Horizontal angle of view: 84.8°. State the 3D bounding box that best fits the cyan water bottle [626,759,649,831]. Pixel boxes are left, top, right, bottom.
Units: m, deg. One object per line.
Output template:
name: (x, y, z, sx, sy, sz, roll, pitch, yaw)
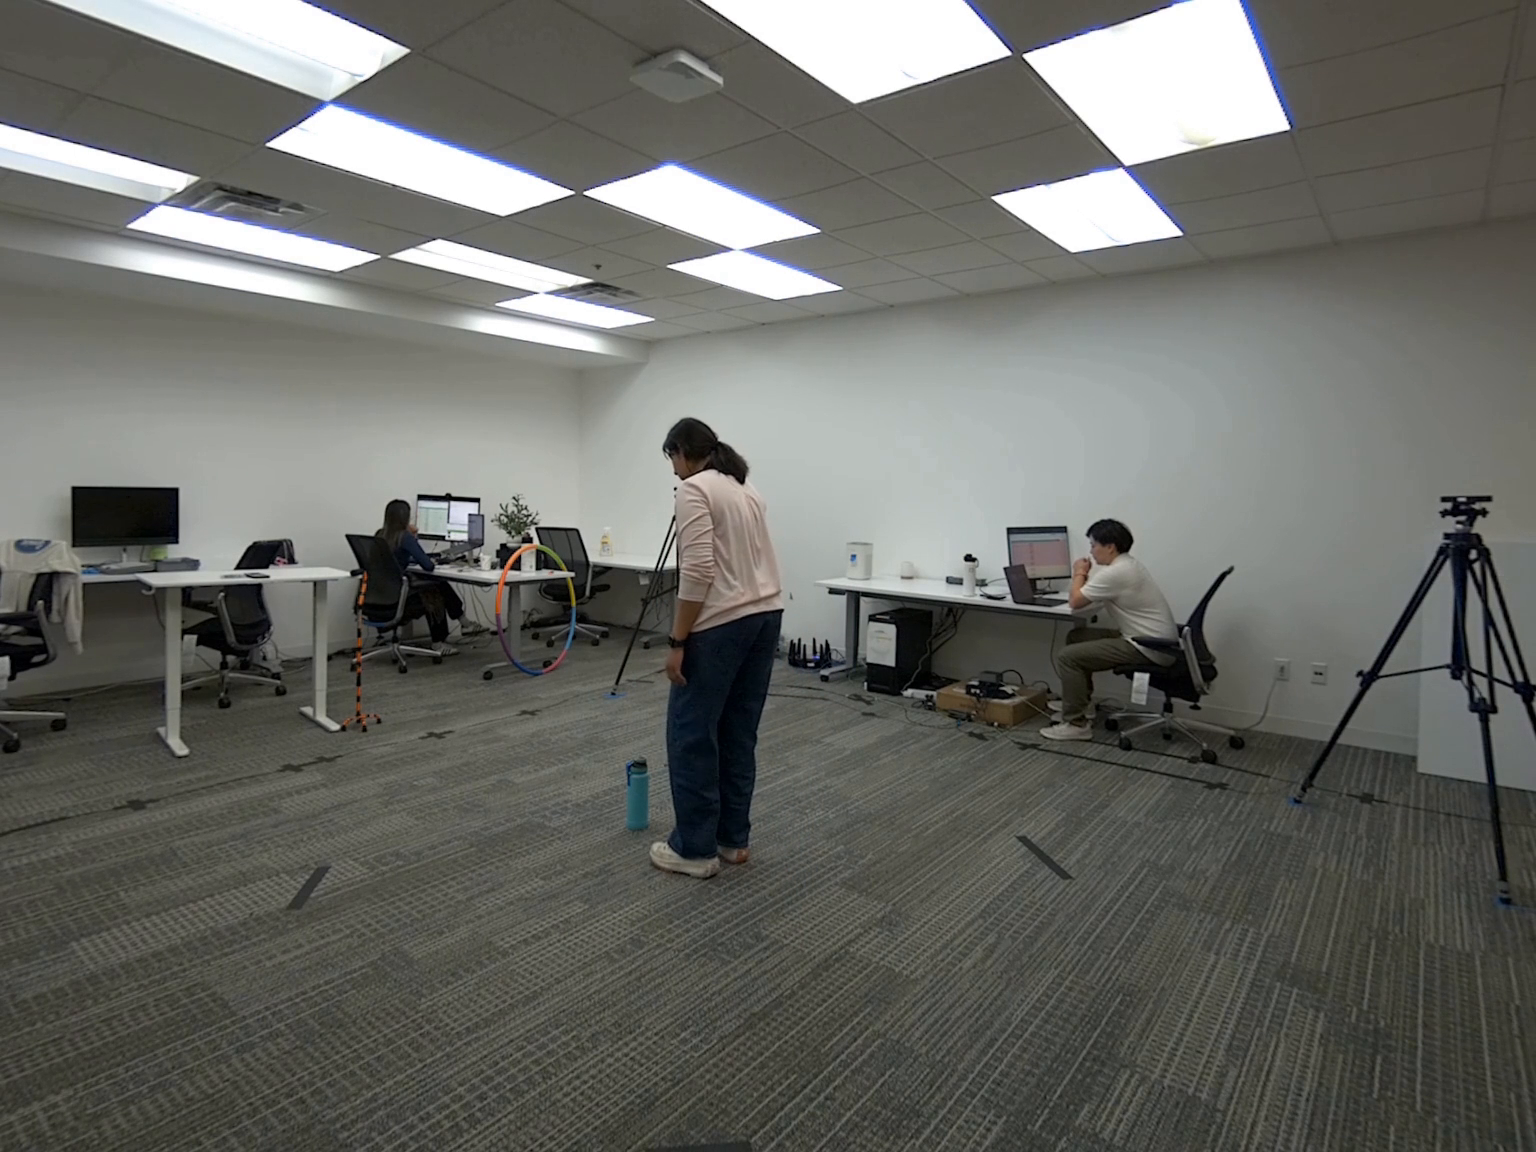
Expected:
cyan water bottle: (-0.550, 0.886, 3.488, 0.092, 0.282, 0.093, -2, 4, -2)
